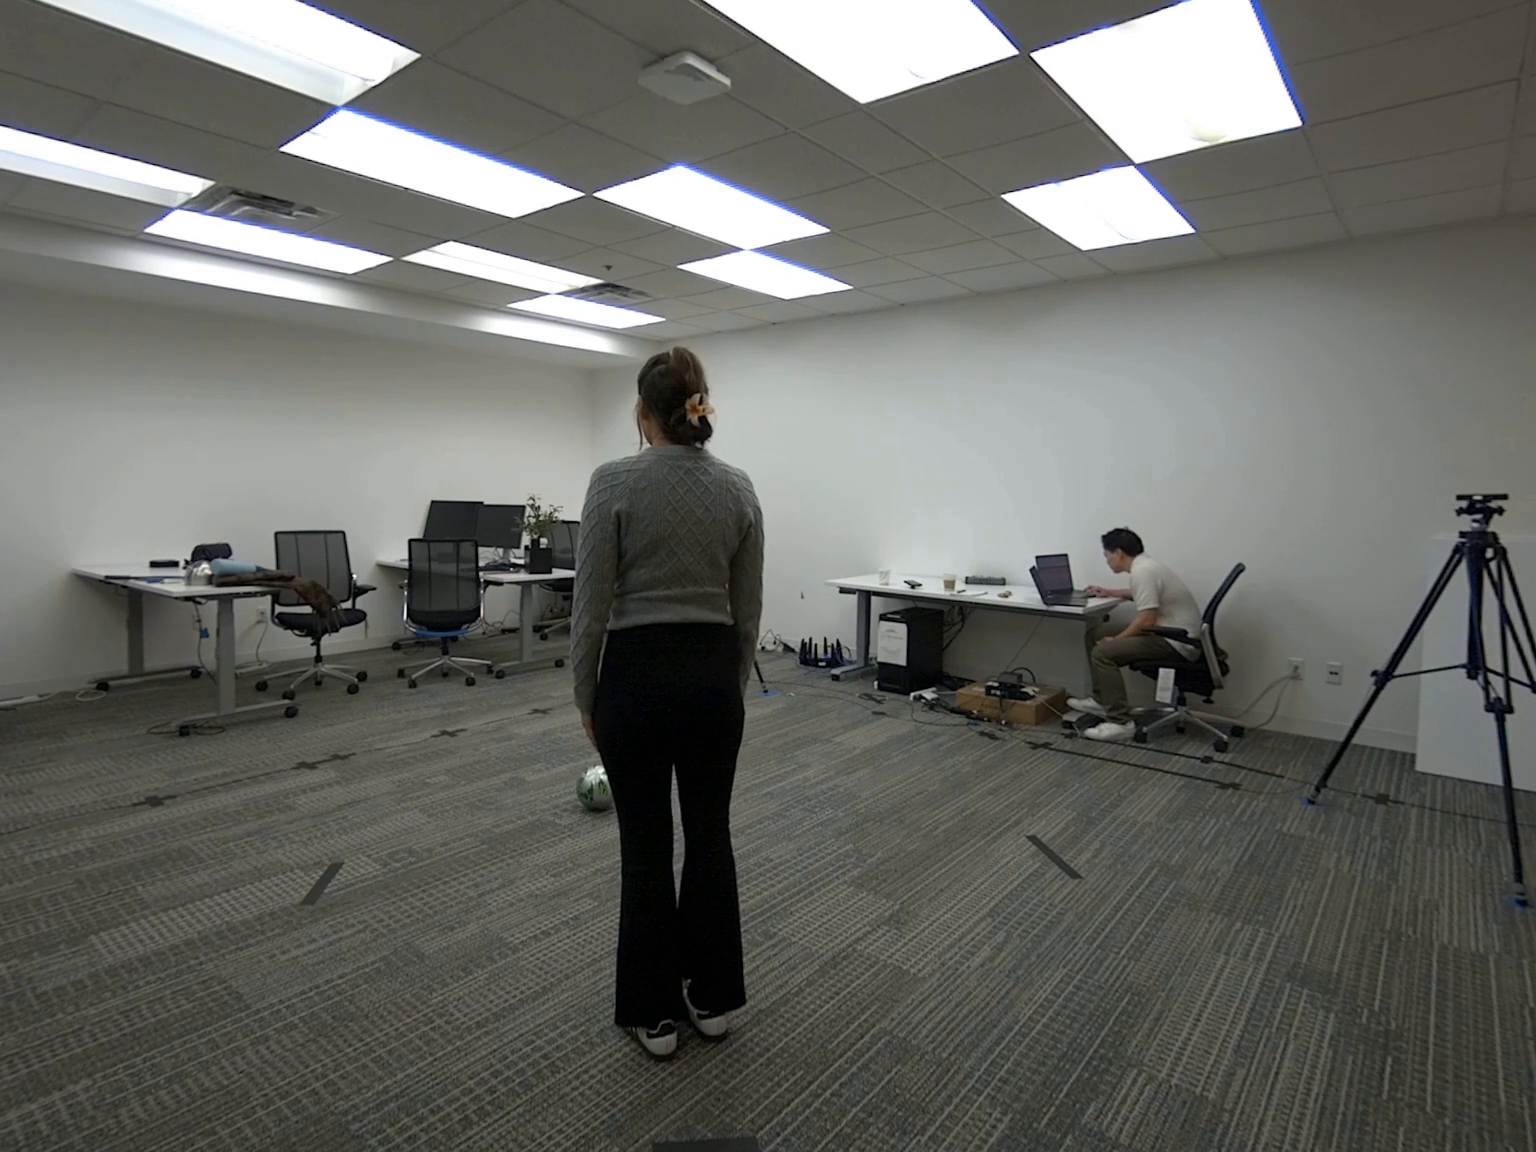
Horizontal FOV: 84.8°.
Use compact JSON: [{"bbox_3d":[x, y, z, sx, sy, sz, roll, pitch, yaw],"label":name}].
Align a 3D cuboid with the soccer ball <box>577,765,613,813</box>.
[{"bbox_3d":[-0.745,0.909,3.673,0.187,0.187,0.188,1,4,-2],"label":"soccer ball"}]
